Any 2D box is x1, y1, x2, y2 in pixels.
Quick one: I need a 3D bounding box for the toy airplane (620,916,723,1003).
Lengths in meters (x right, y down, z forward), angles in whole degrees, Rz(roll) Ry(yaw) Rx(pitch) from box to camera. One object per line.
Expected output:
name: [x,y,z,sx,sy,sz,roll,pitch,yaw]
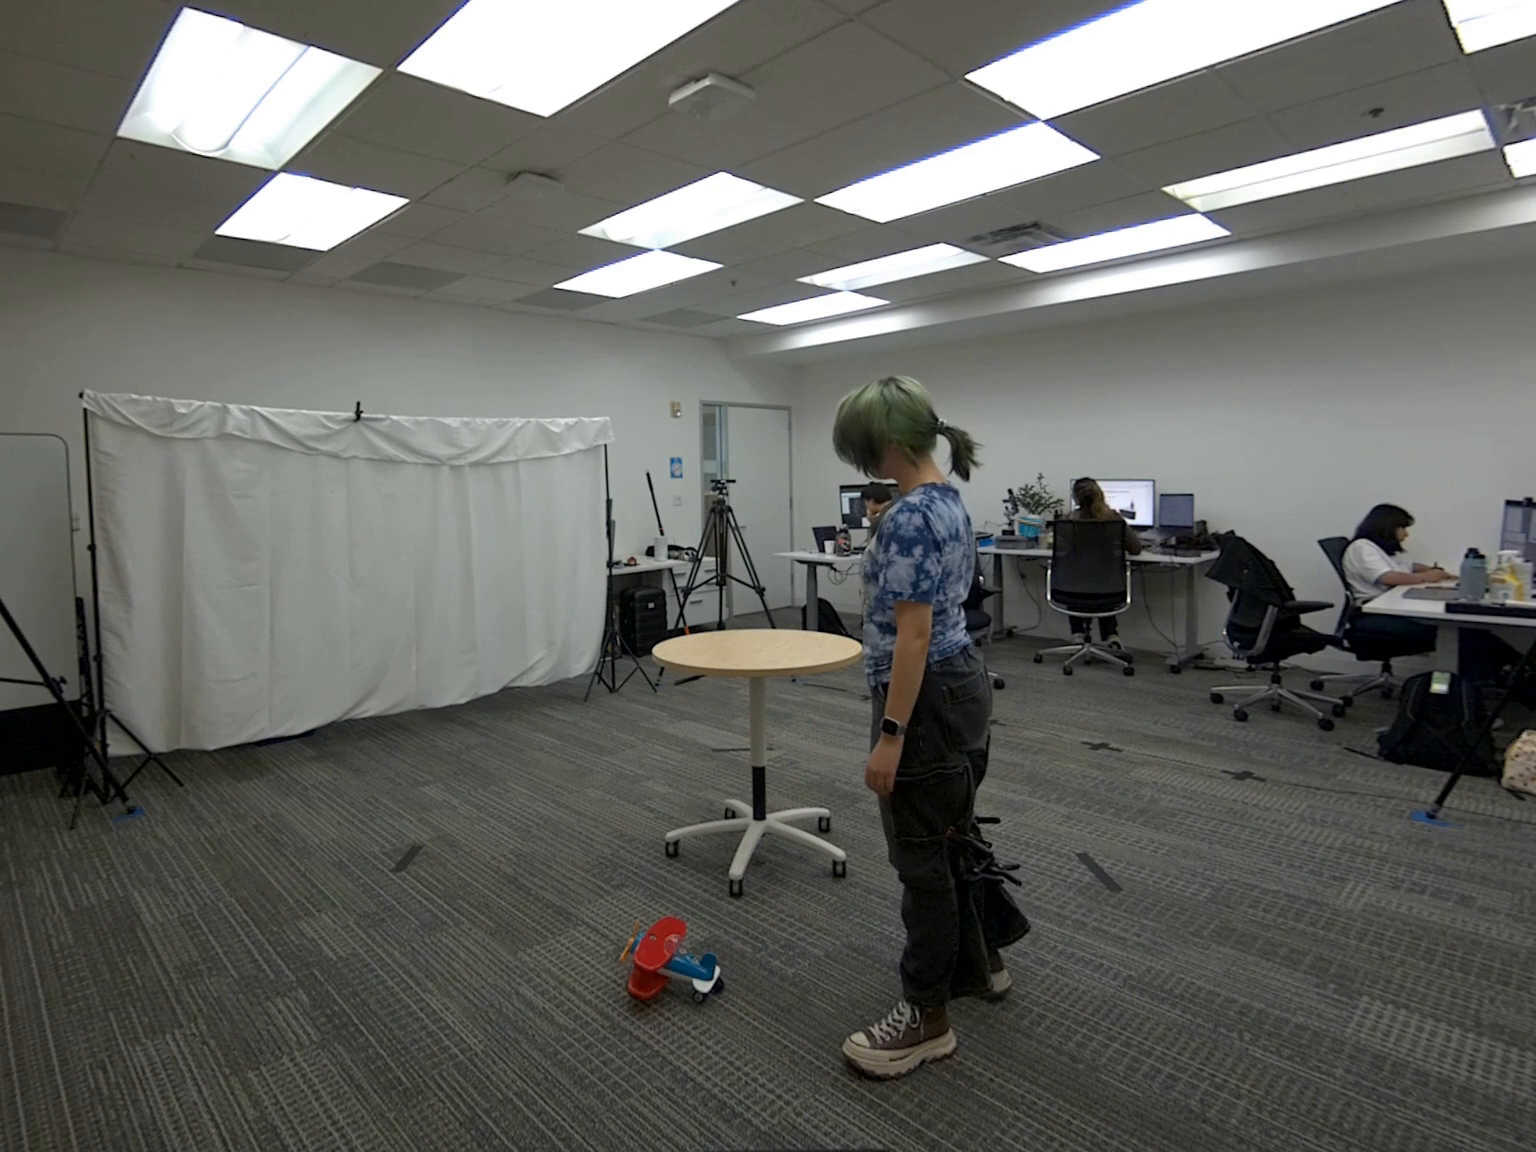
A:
toy airplane: [-0.257,1.065,2.361,0.256,0.155,0.255,-4,7,-13]
